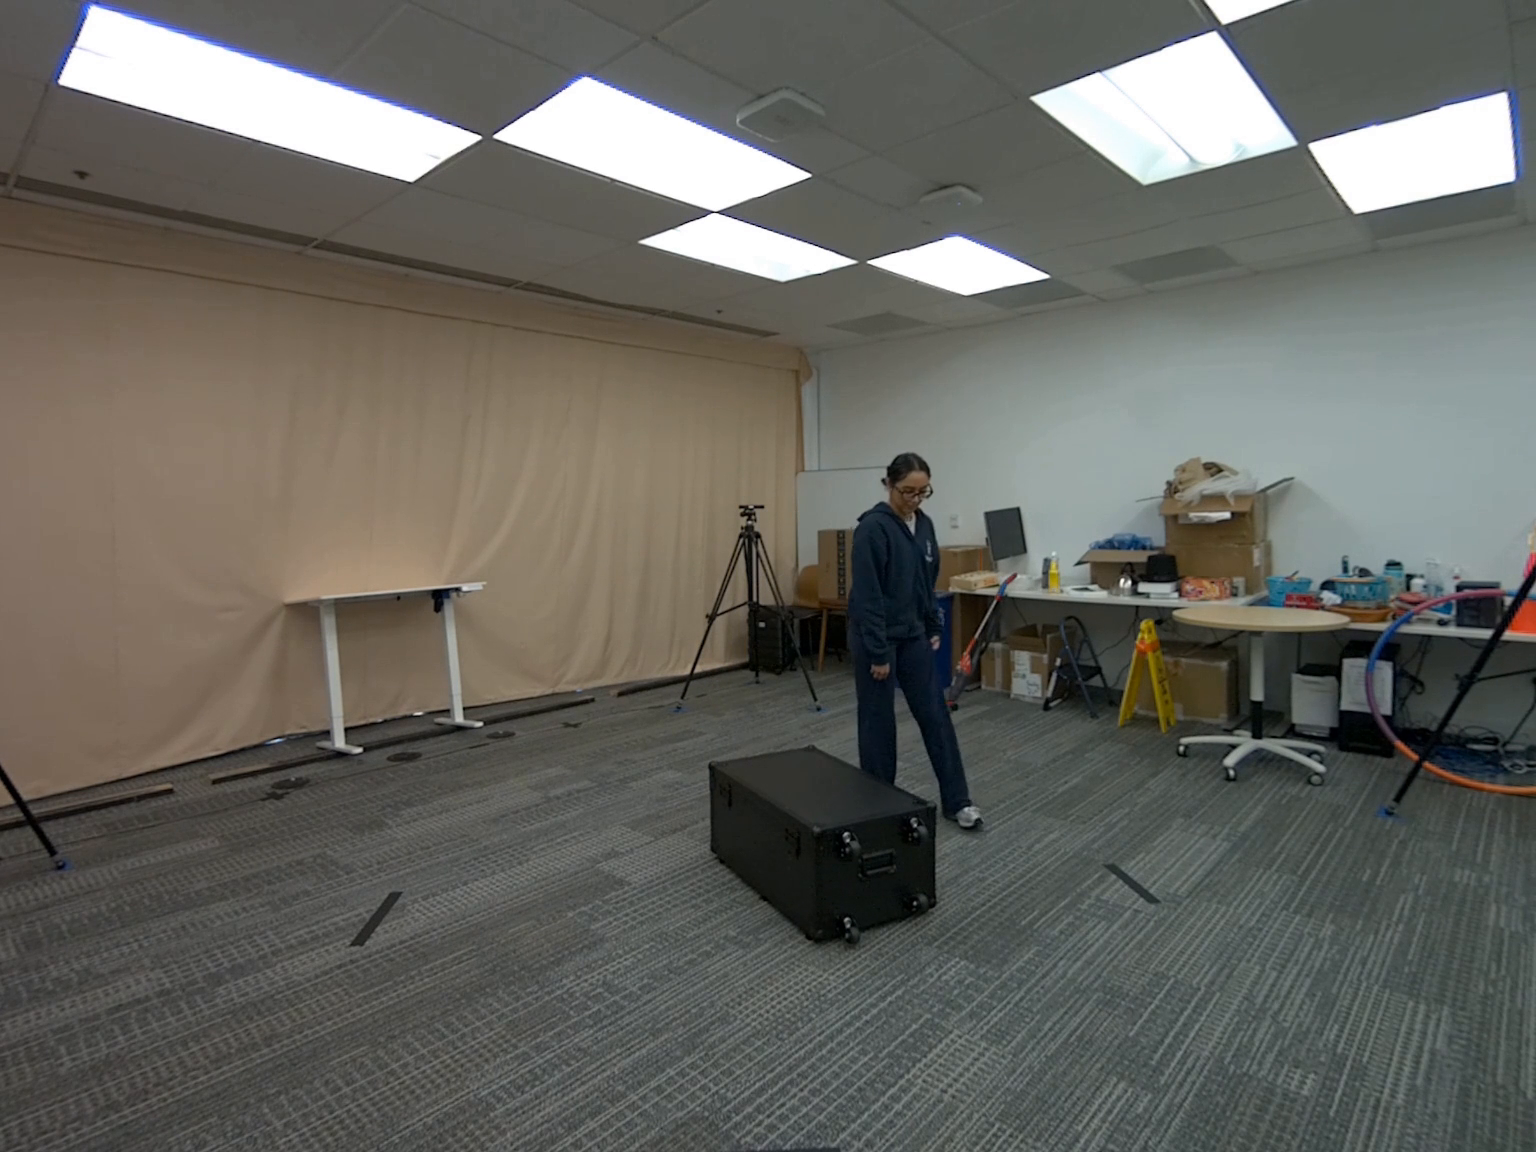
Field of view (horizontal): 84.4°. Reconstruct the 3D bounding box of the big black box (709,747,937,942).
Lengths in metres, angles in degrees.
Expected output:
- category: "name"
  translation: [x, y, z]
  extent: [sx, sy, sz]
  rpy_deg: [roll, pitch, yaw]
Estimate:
- category: "big black box"
  translation: [0.192, 0.959, 3.059]
  extent: [0.386, 0.520, 0.886]
  rpy_deg: [-4, 6, -29]
